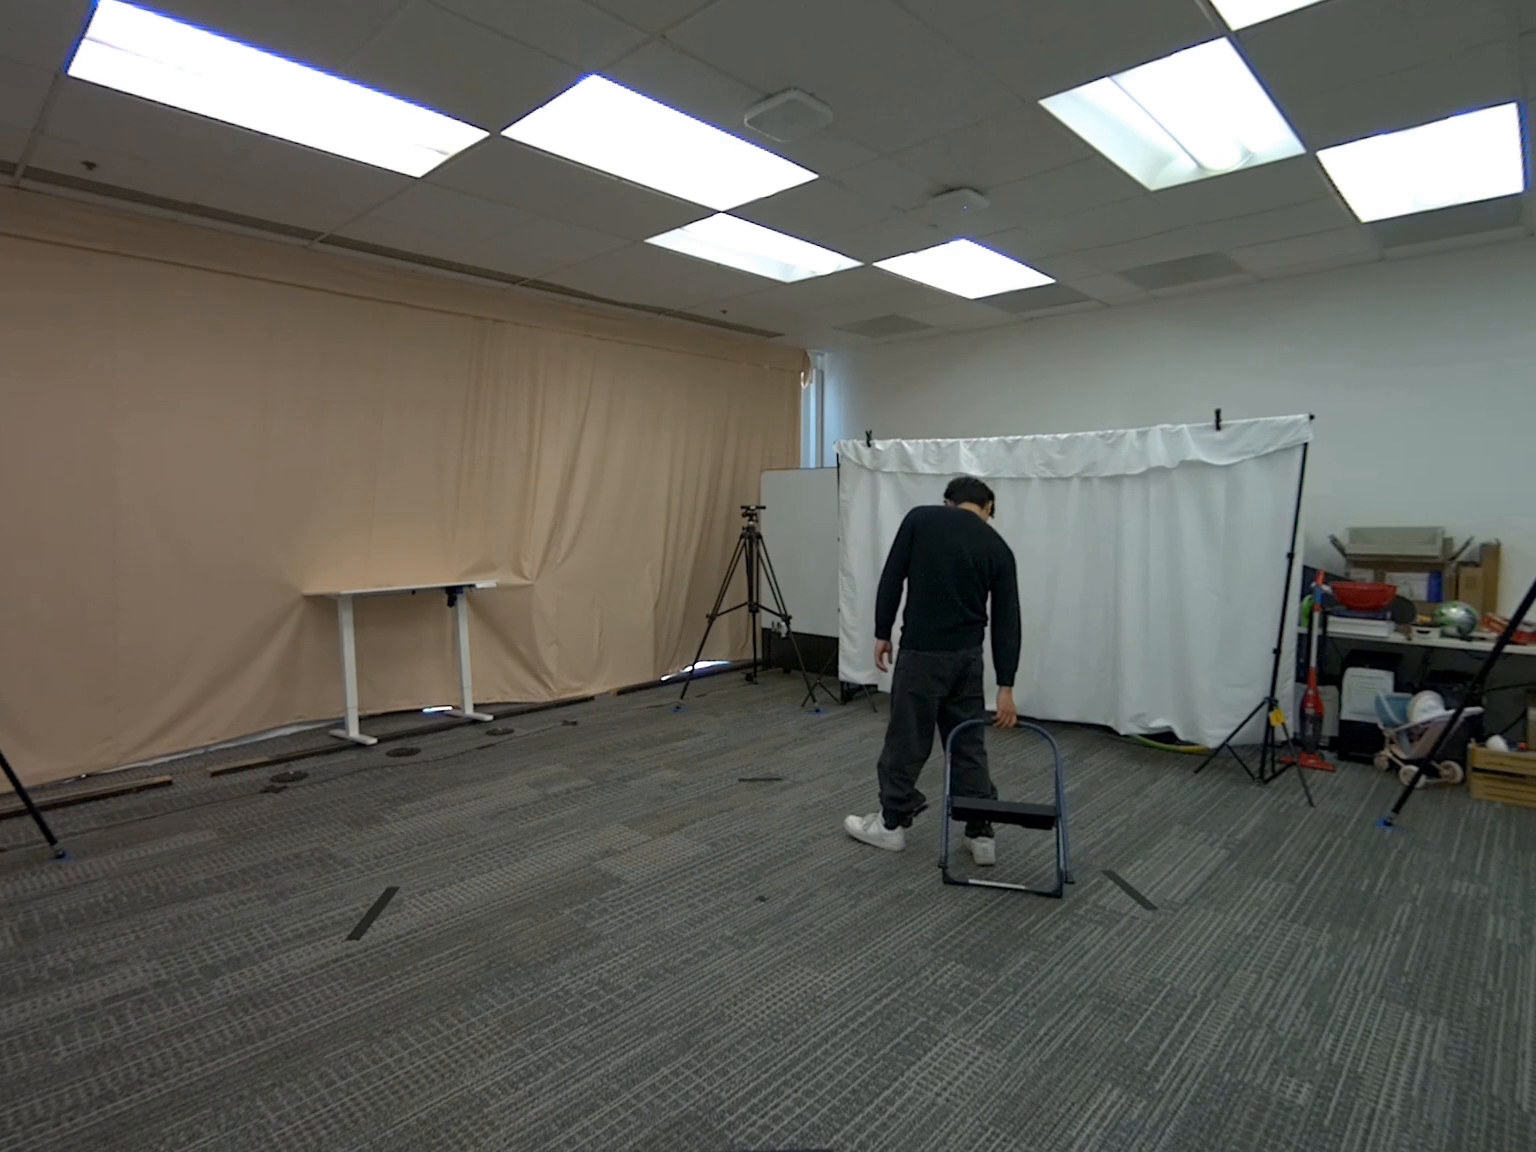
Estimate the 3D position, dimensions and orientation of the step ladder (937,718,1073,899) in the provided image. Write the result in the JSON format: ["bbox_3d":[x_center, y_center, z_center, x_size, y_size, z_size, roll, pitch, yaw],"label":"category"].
[{"bbox_3d":[0.868,0.798,3.051,0.438,0.612,0.340,2,-28,15],"label":"step ladder"}]
